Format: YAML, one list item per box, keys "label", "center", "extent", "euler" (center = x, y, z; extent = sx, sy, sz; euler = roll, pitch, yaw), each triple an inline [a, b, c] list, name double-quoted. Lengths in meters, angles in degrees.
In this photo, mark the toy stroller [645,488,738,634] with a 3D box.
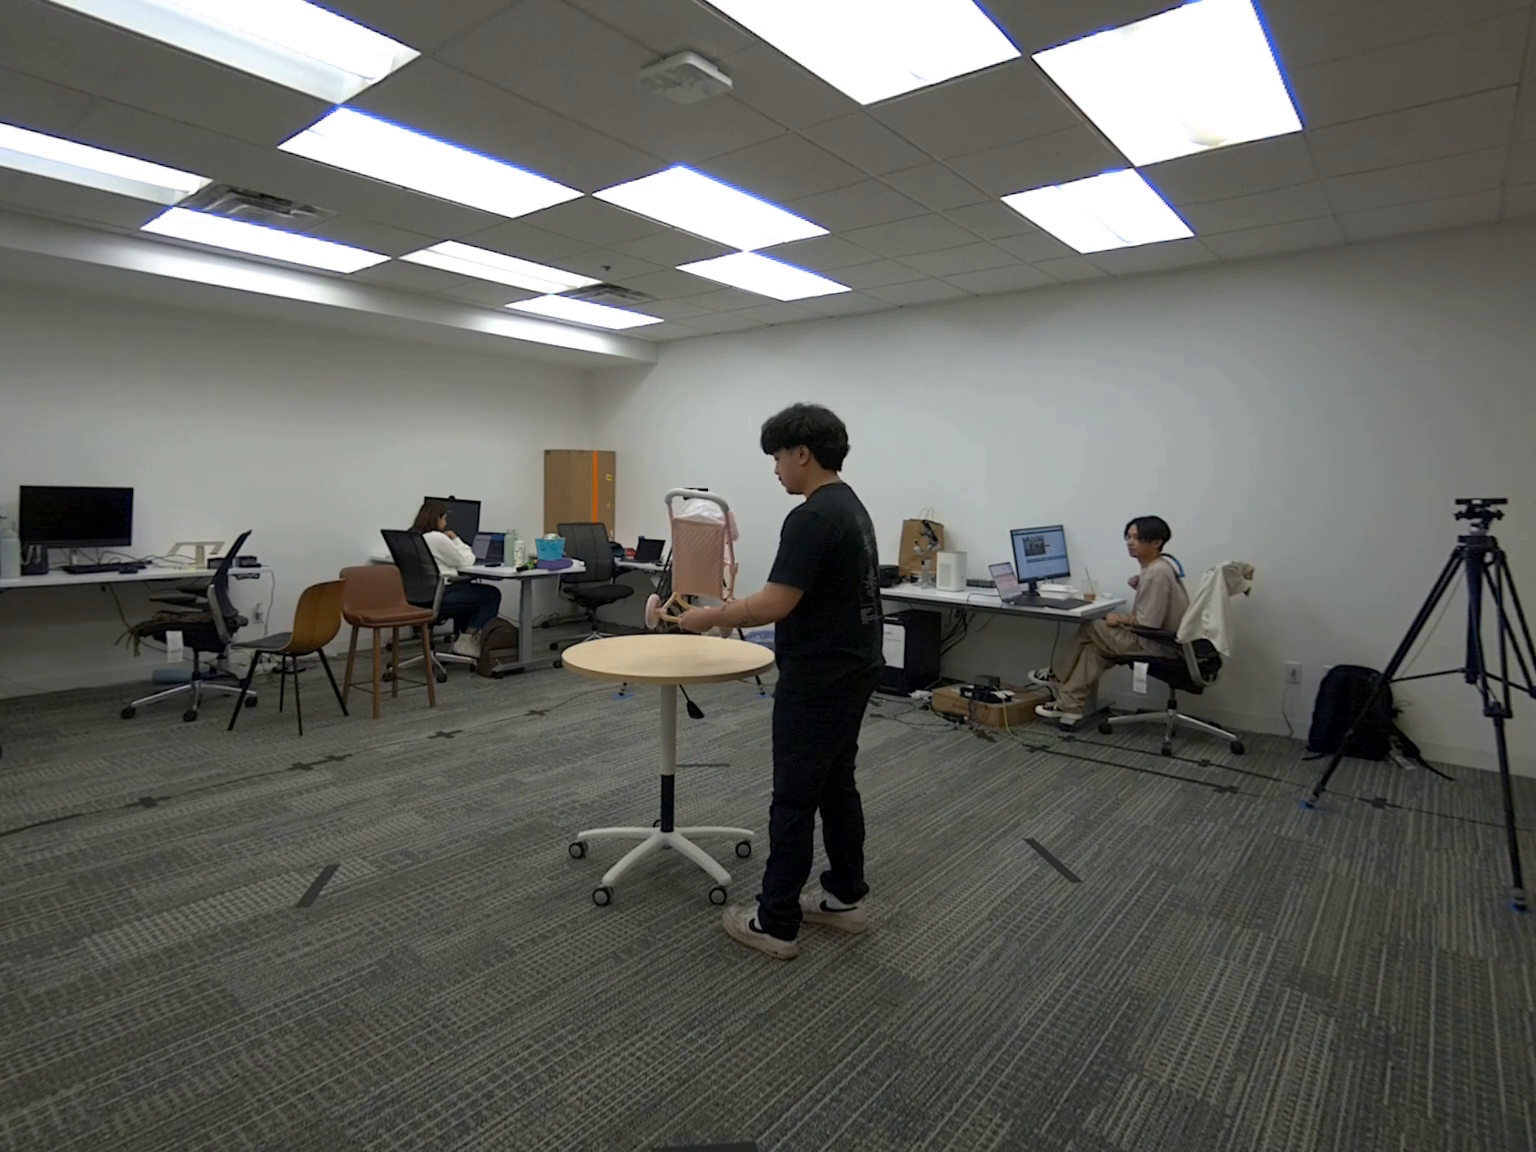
- label: "toy stroller"
  center: [-0.228, -0.033, 2.830]
  extent: [0.286, 0.531, 0.338]
  euler: [7, 9, 14]
